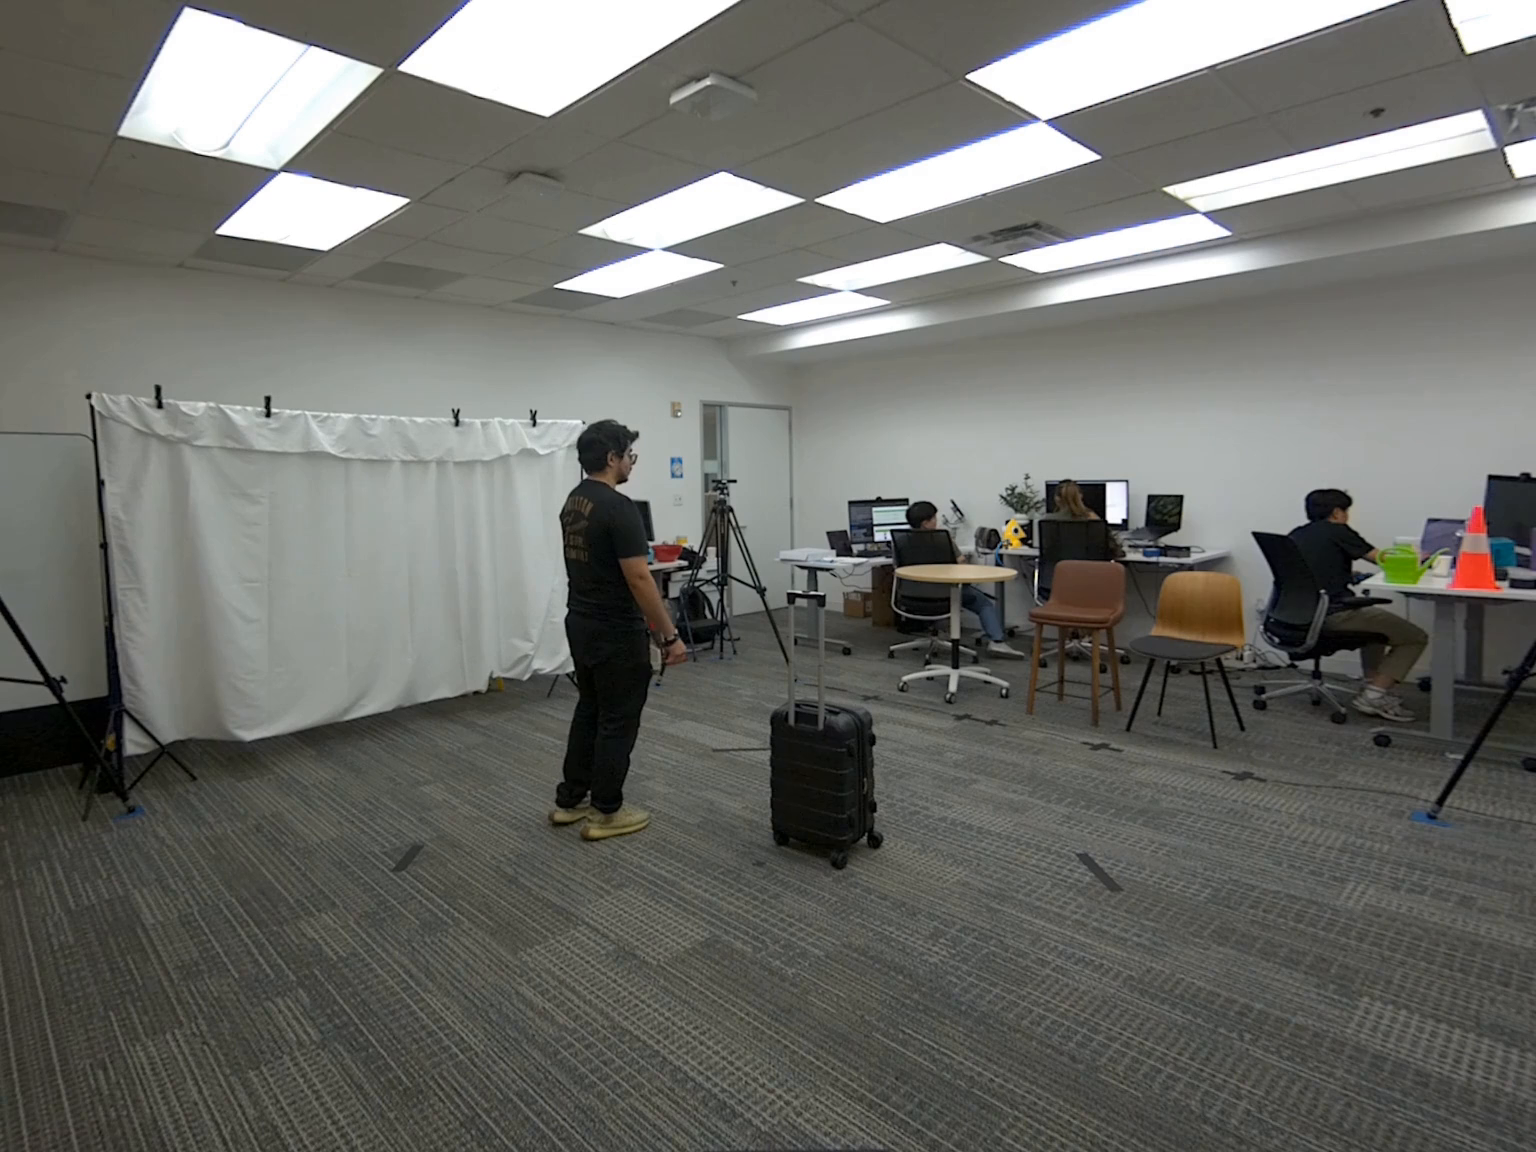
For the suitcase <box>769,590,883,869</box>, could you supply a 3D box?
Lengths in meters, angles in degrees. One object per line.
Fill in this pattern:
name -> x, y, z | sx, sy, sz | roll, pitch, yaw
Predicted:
suitcase -> 0.210, 0.554, 3.236 | 0.395, 0.977, 0.250 | 1, 2, 36
